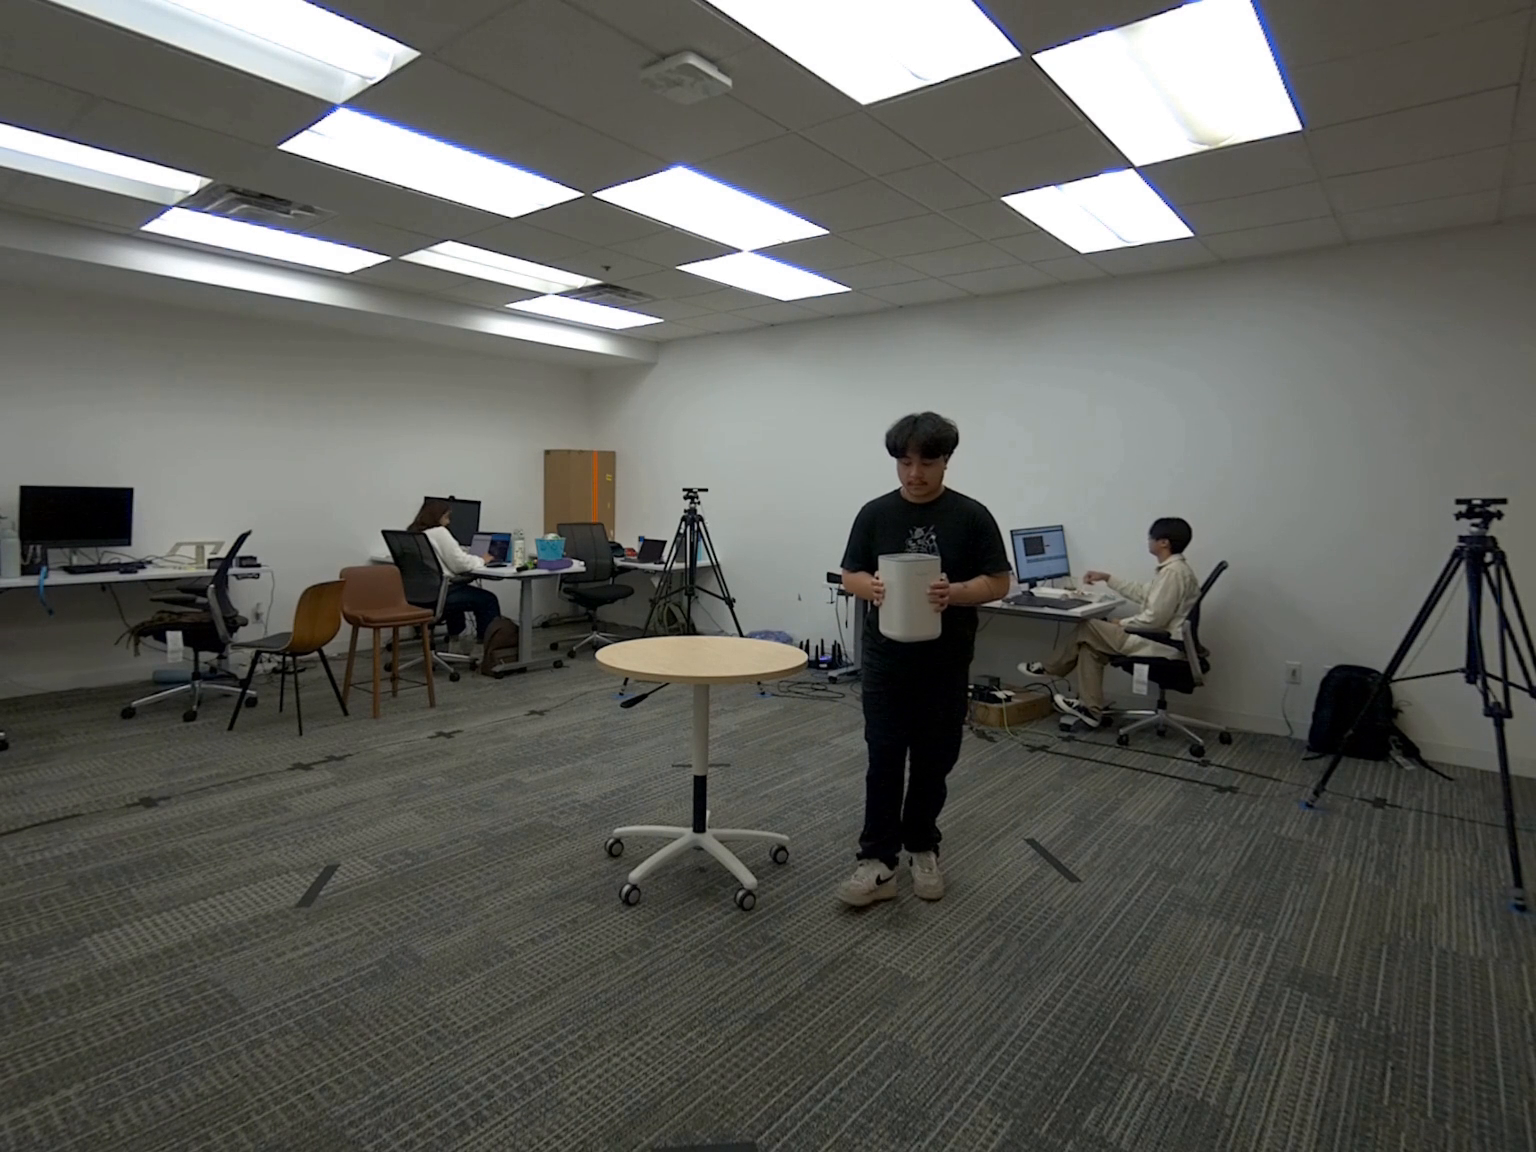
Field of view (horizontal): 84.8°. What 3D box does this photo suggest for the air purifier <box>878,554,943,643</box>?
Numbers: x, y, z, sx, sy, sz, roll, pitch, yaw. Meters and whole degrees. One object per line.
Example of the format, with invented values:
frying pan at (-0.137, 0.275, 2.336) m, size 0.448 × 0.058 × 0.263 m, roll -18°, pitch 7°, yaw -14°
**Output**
air purifier at (0.474, 0.066, 2.745) m, size 0.169 × 0.264 × 0.174 m, roll 0°, pitch 4°, yaw -10°
